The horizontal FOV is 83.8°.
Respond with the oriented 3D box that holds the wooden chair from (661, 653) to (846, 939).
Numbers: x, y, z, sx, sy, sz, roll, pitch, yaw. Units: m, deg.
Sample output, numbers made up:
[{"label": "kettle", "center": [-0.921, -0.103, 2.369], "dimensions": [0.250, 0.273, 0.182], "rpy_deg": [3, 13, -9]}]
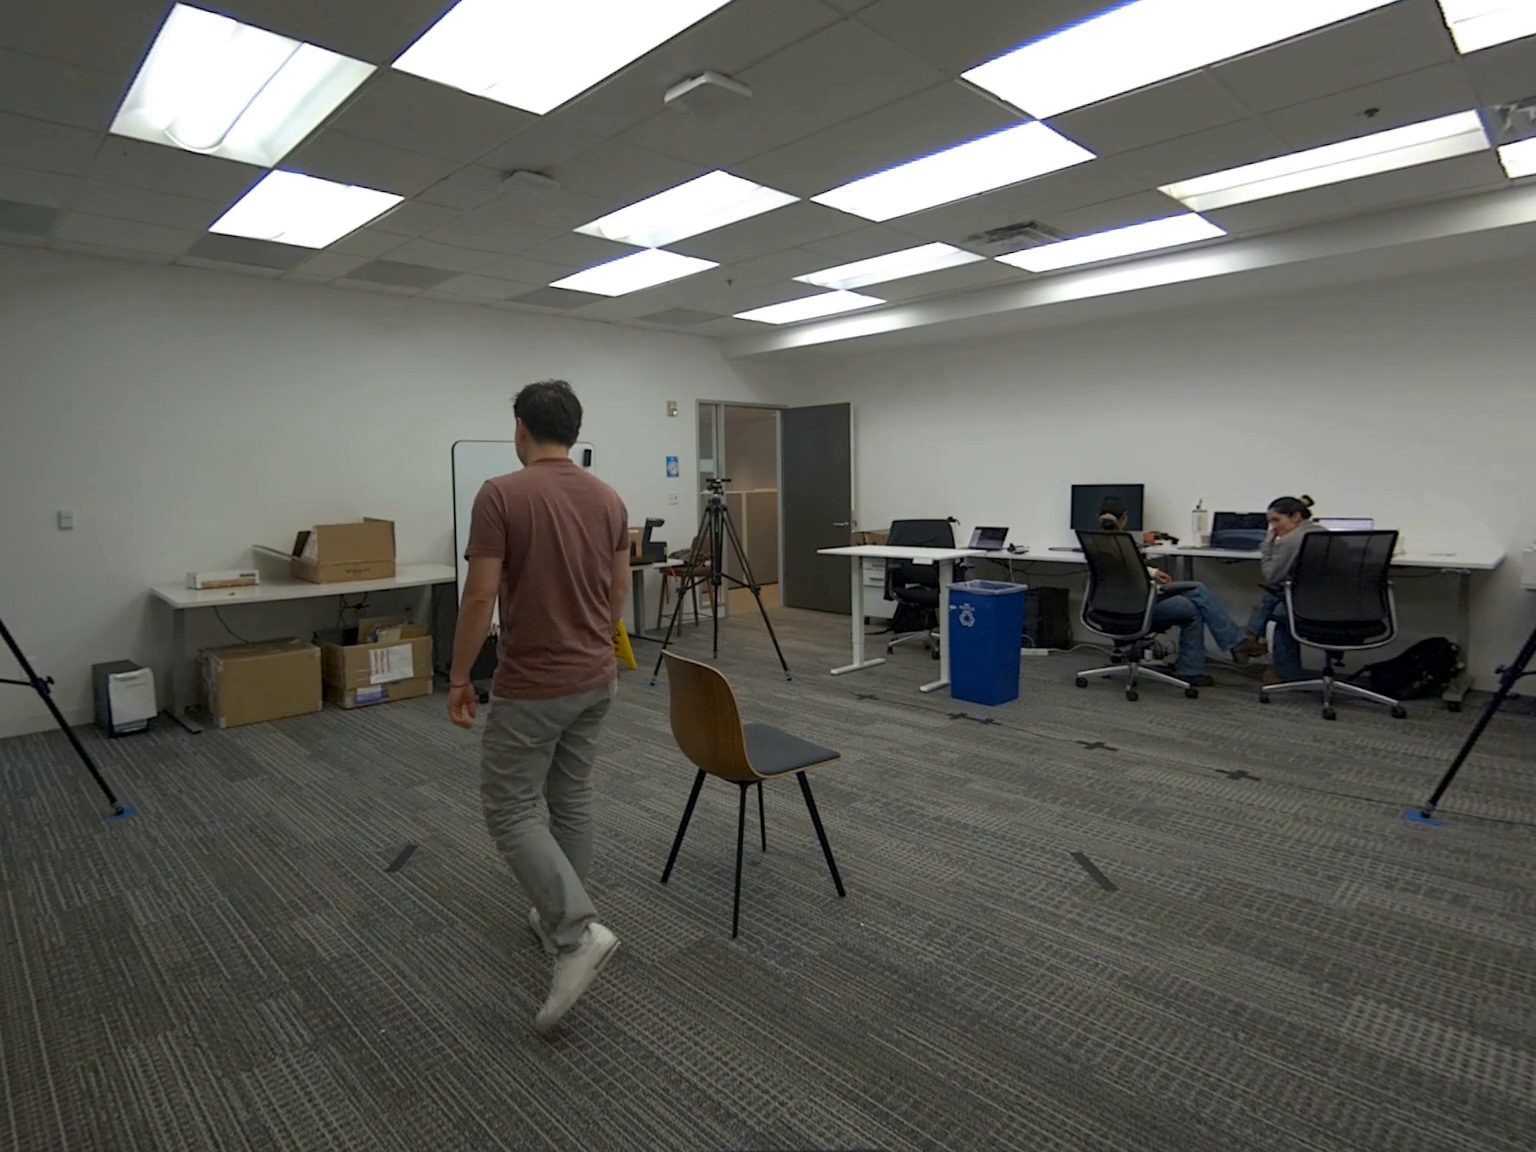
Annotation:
[{"label": "wooden chair", "center": [-0.055, 0.645, 2.876], "dimensions": [0.511, 0.872, 0.492], "rpy_deg": [-9, 8, -35]}]
